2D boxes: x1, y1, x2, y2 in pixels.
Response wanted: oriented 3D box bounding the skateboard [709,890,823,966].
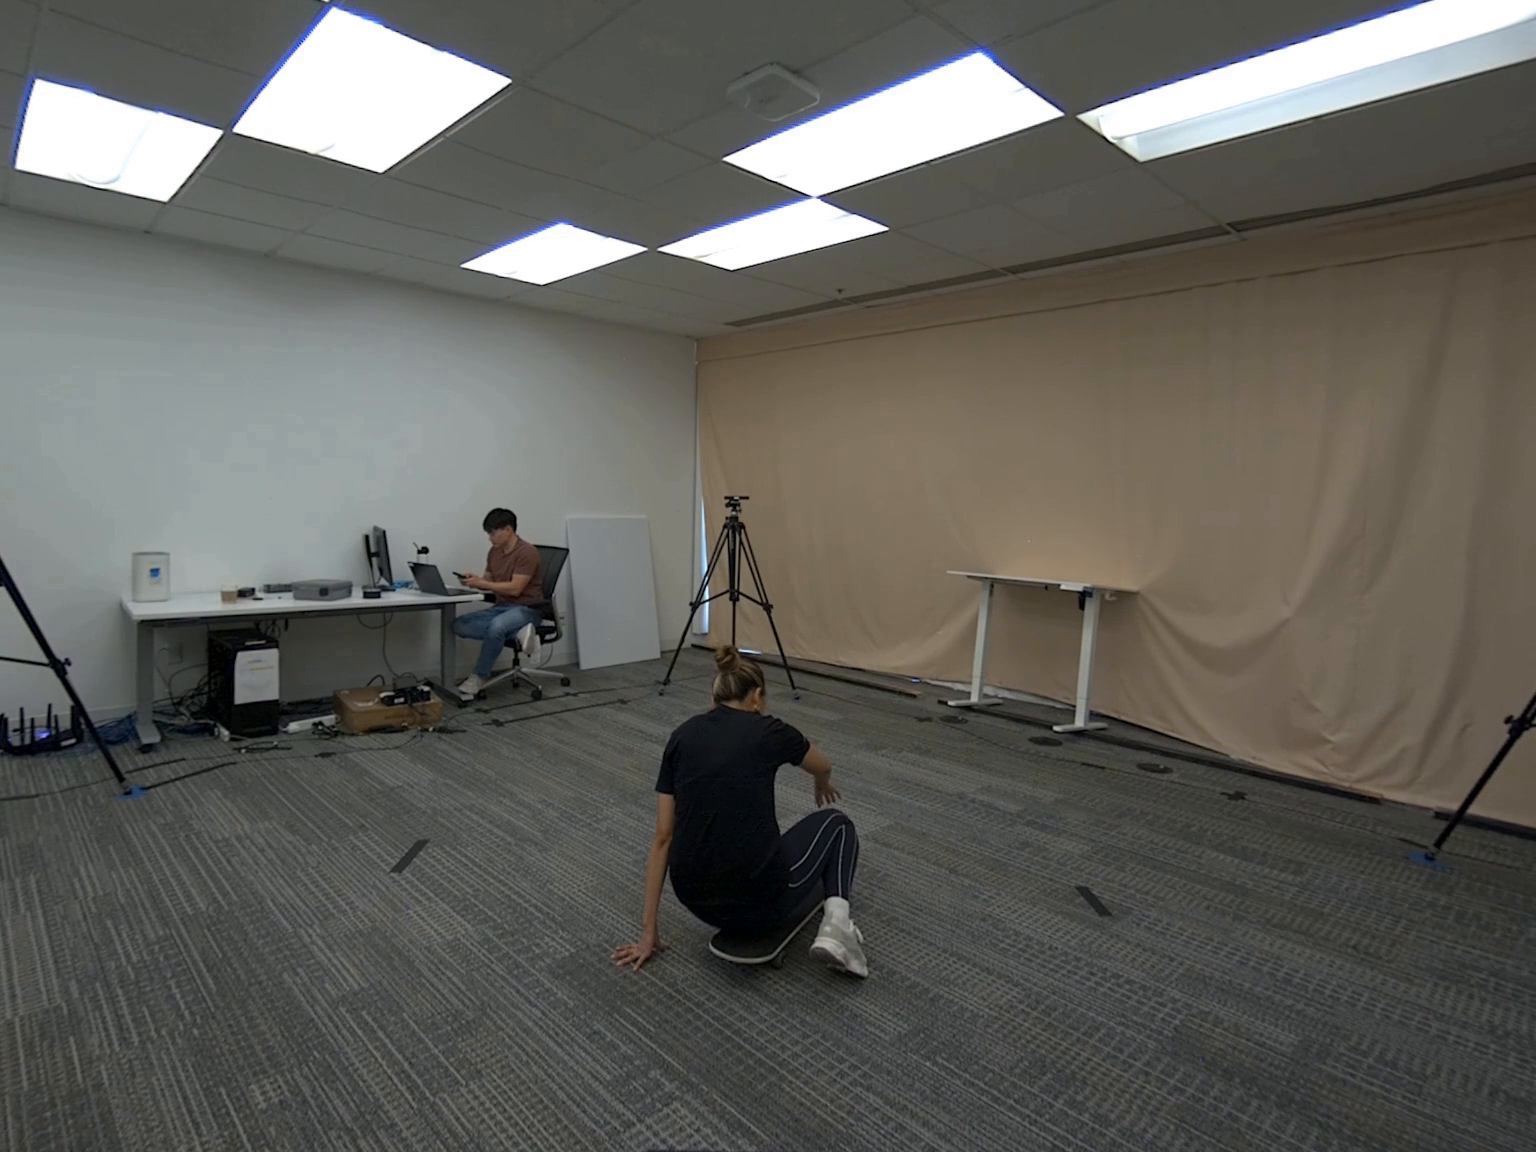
[{"bbox_3d":[0.053,1.077,2.709,0.197,0.110,0.772,5,7,26],"label":"skateboard"}]
